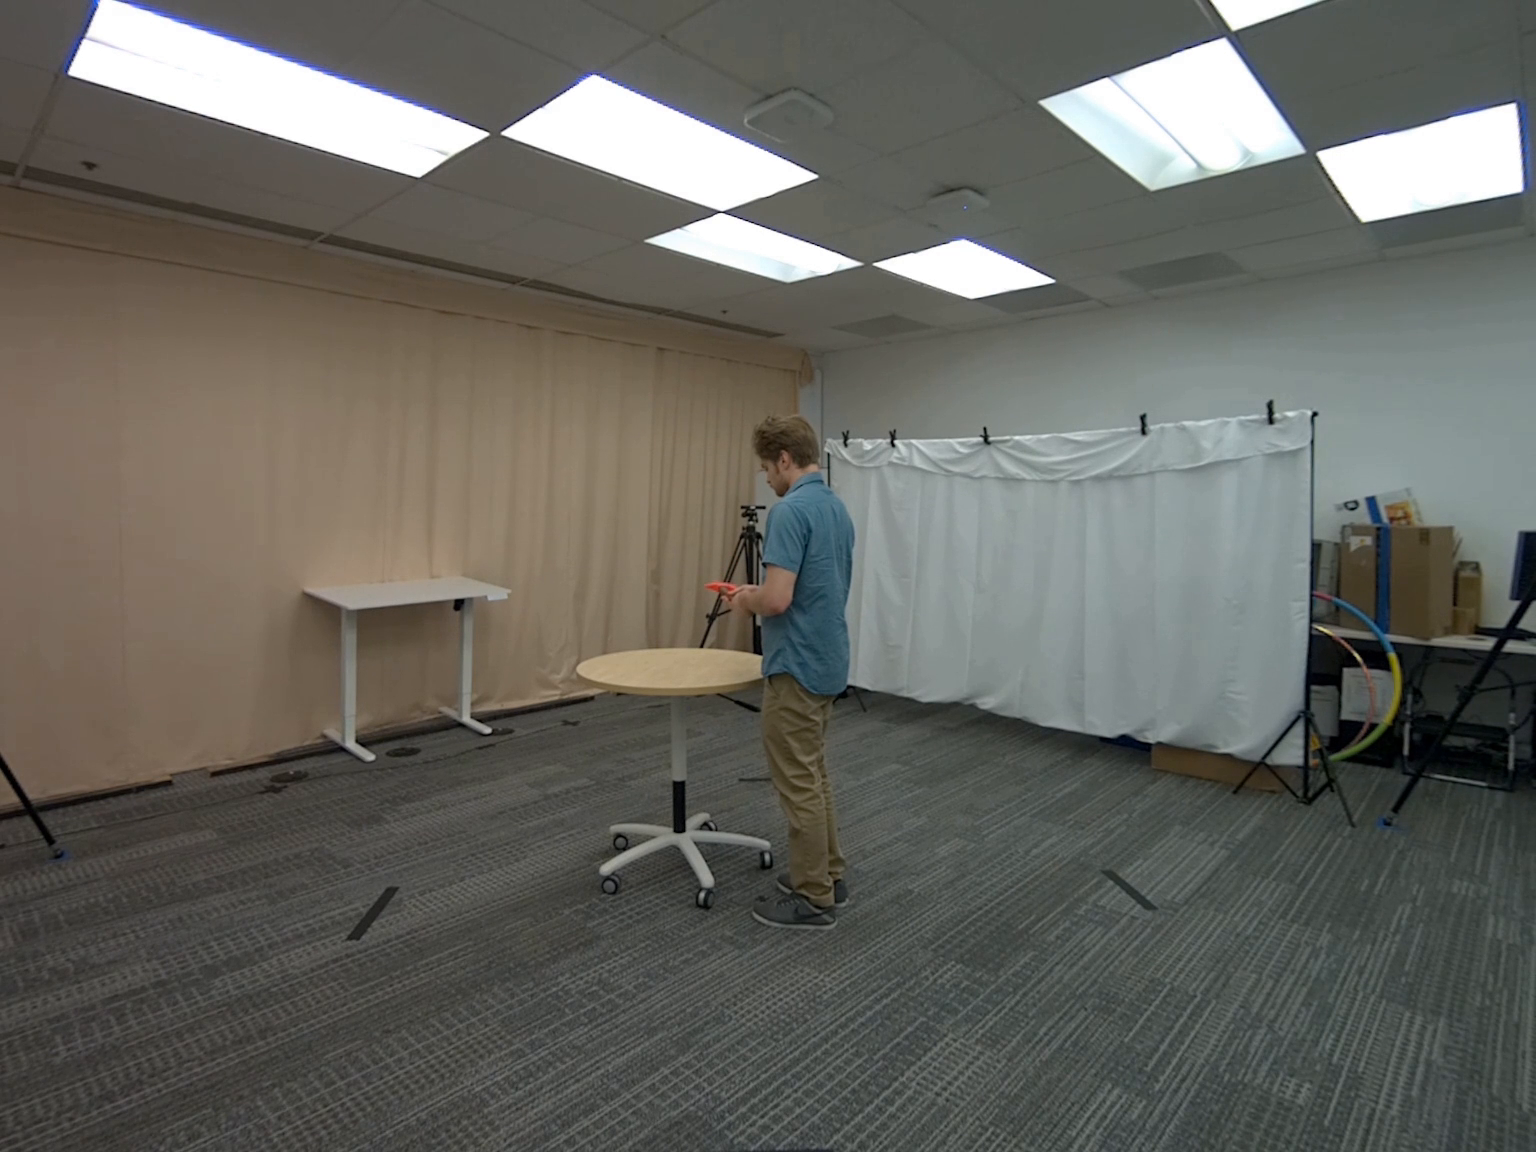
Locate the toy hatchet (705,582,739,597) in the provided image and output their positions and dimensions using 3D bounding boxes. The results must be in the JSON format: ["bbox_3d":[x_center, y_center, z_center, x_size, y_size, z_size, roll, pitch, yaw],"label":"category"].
[{"bbox_3d":[-0.102,0.066,3.038,0.127,0.029,0.279,-1,14,-34],"label":"toy hatchet"}]
